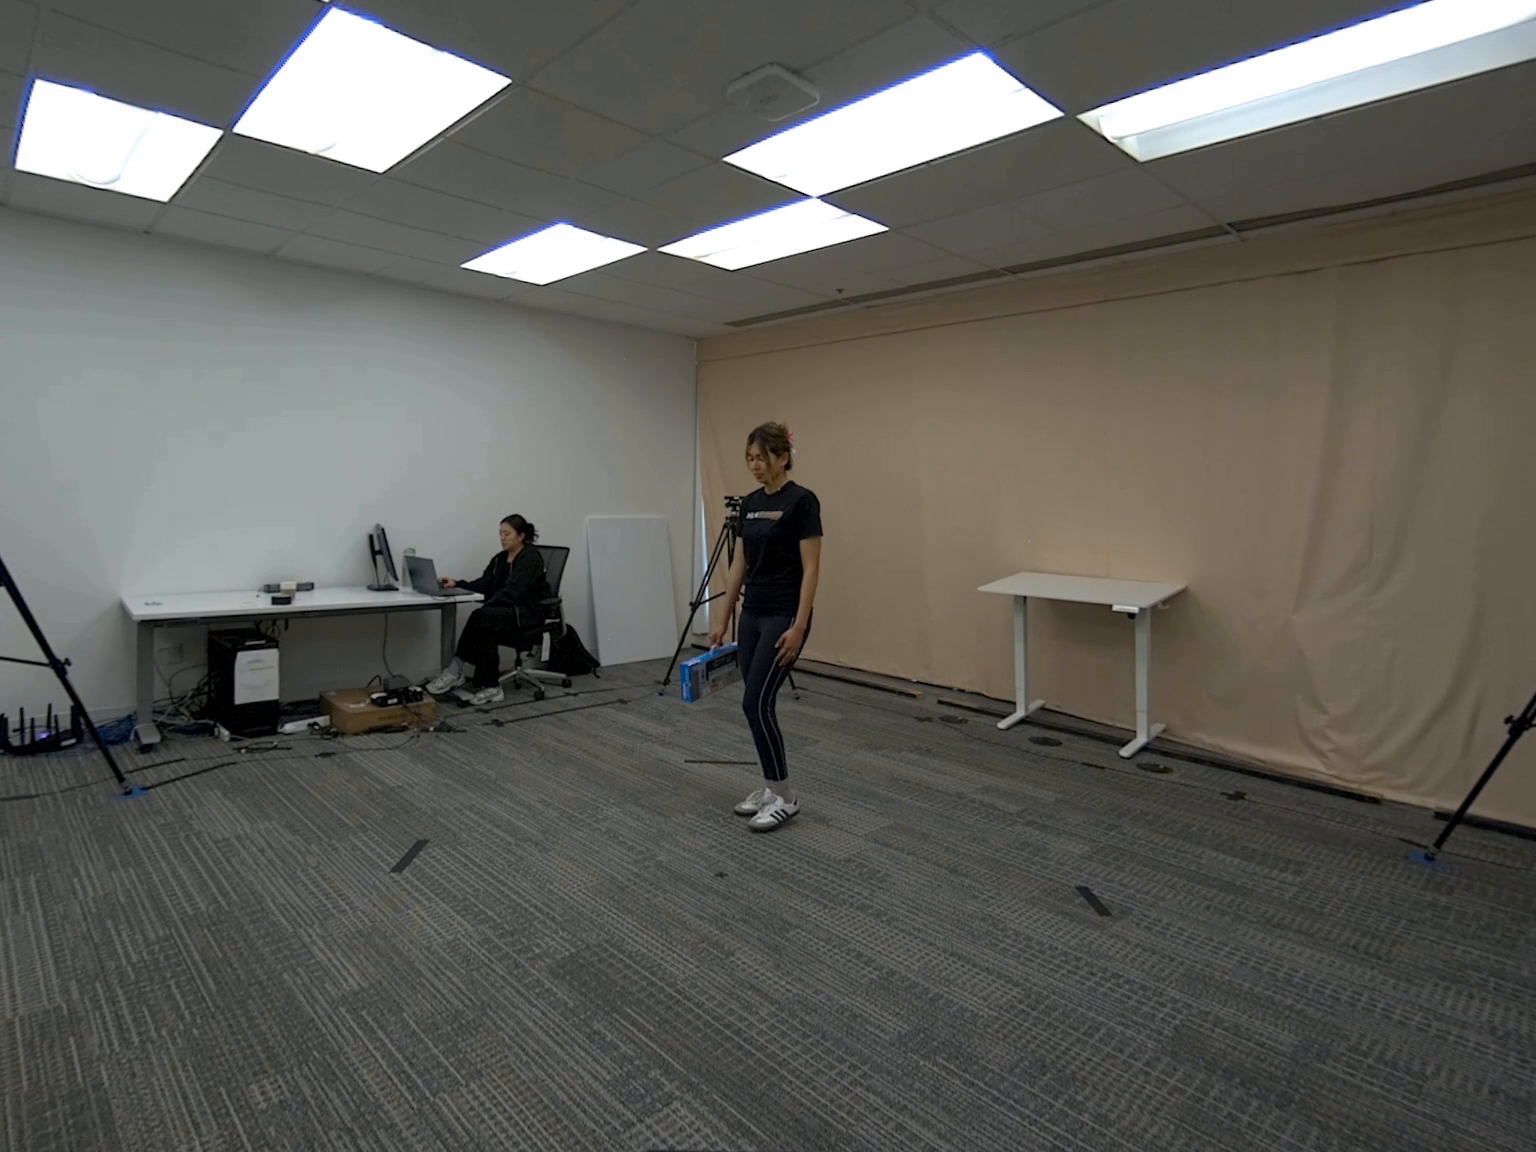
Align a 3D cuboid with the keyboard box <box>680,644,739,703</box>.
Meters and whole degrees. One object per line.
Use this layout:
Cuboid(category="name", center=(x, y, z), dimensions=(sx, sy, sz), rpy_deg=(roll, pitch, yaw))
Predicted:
Cuboid(category="keyboard box", center=(-0.231, 0.427, 3.842), dimensions=(0.060, 0.174, 0.430), rpy_deg=(7, 15, 35))
